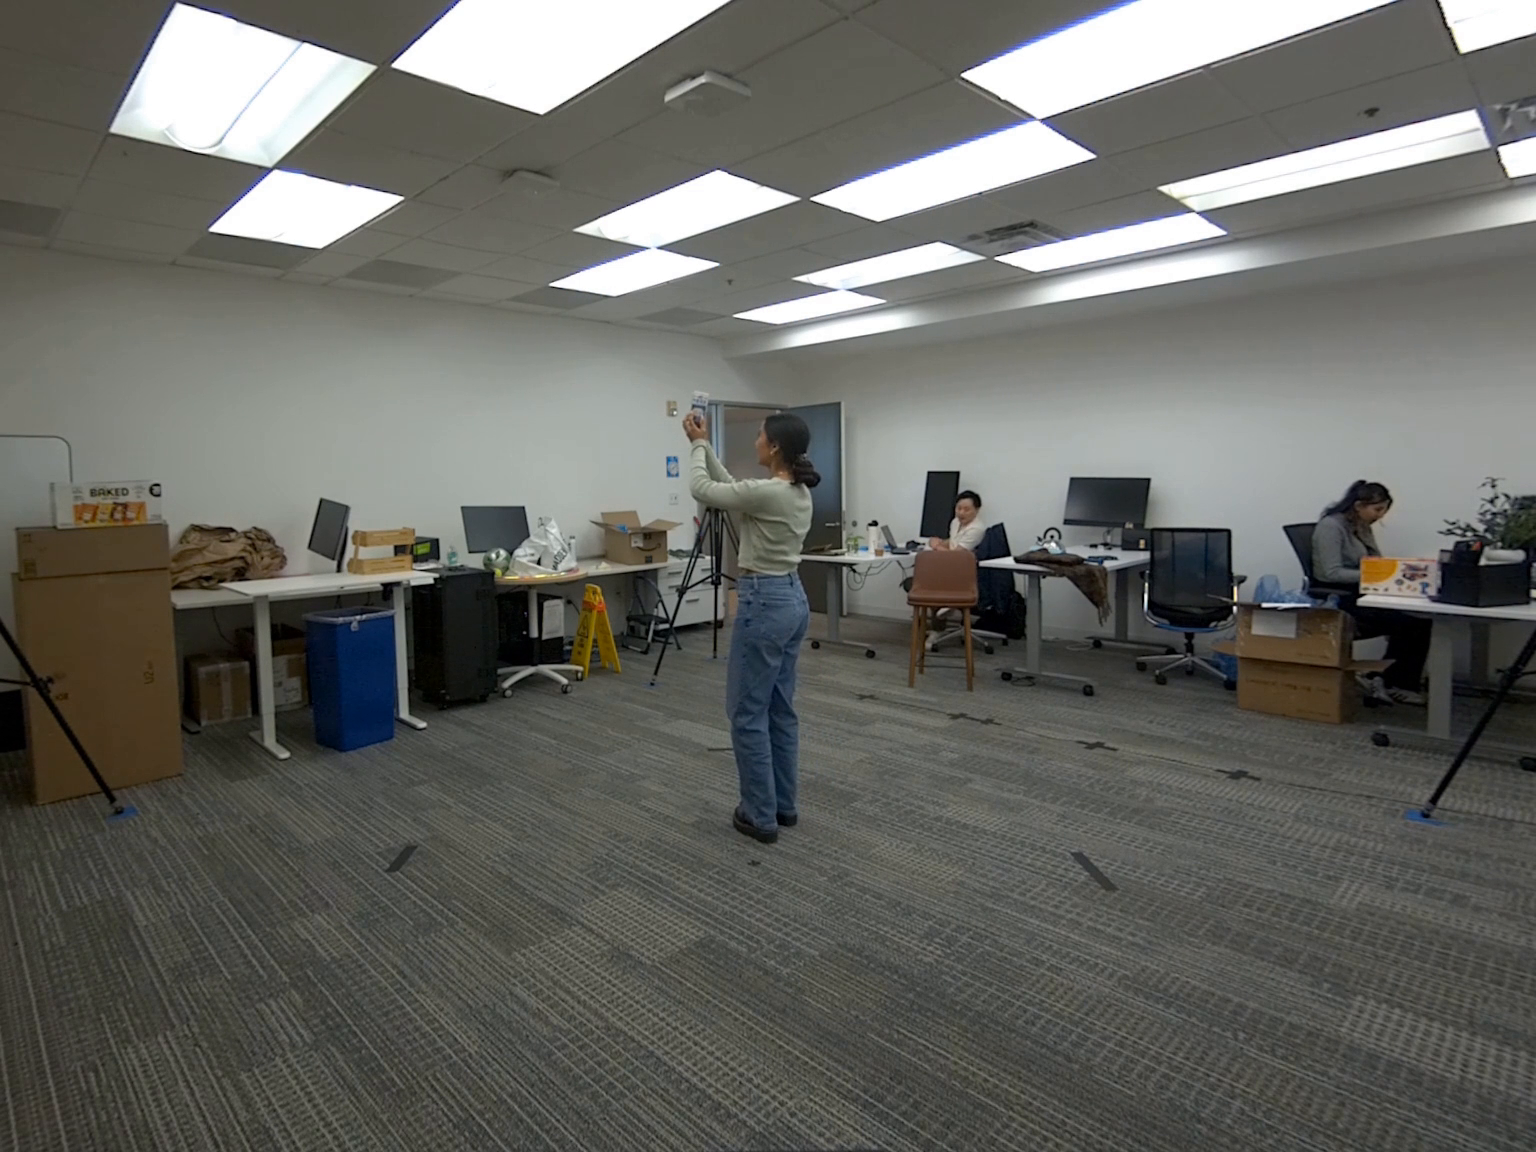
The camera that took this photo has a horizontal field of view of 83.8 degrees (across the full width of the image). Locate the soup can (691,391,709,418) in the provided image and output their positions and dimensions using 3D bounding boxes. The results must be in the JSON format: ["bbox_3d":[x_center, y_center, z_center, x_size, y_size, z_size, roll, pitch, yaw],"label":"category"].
[{"bbox_3d":[-0.286,-0.696,3.527,0.067,0.121,0.067,8,5,-3],"label":"soup can"}]
